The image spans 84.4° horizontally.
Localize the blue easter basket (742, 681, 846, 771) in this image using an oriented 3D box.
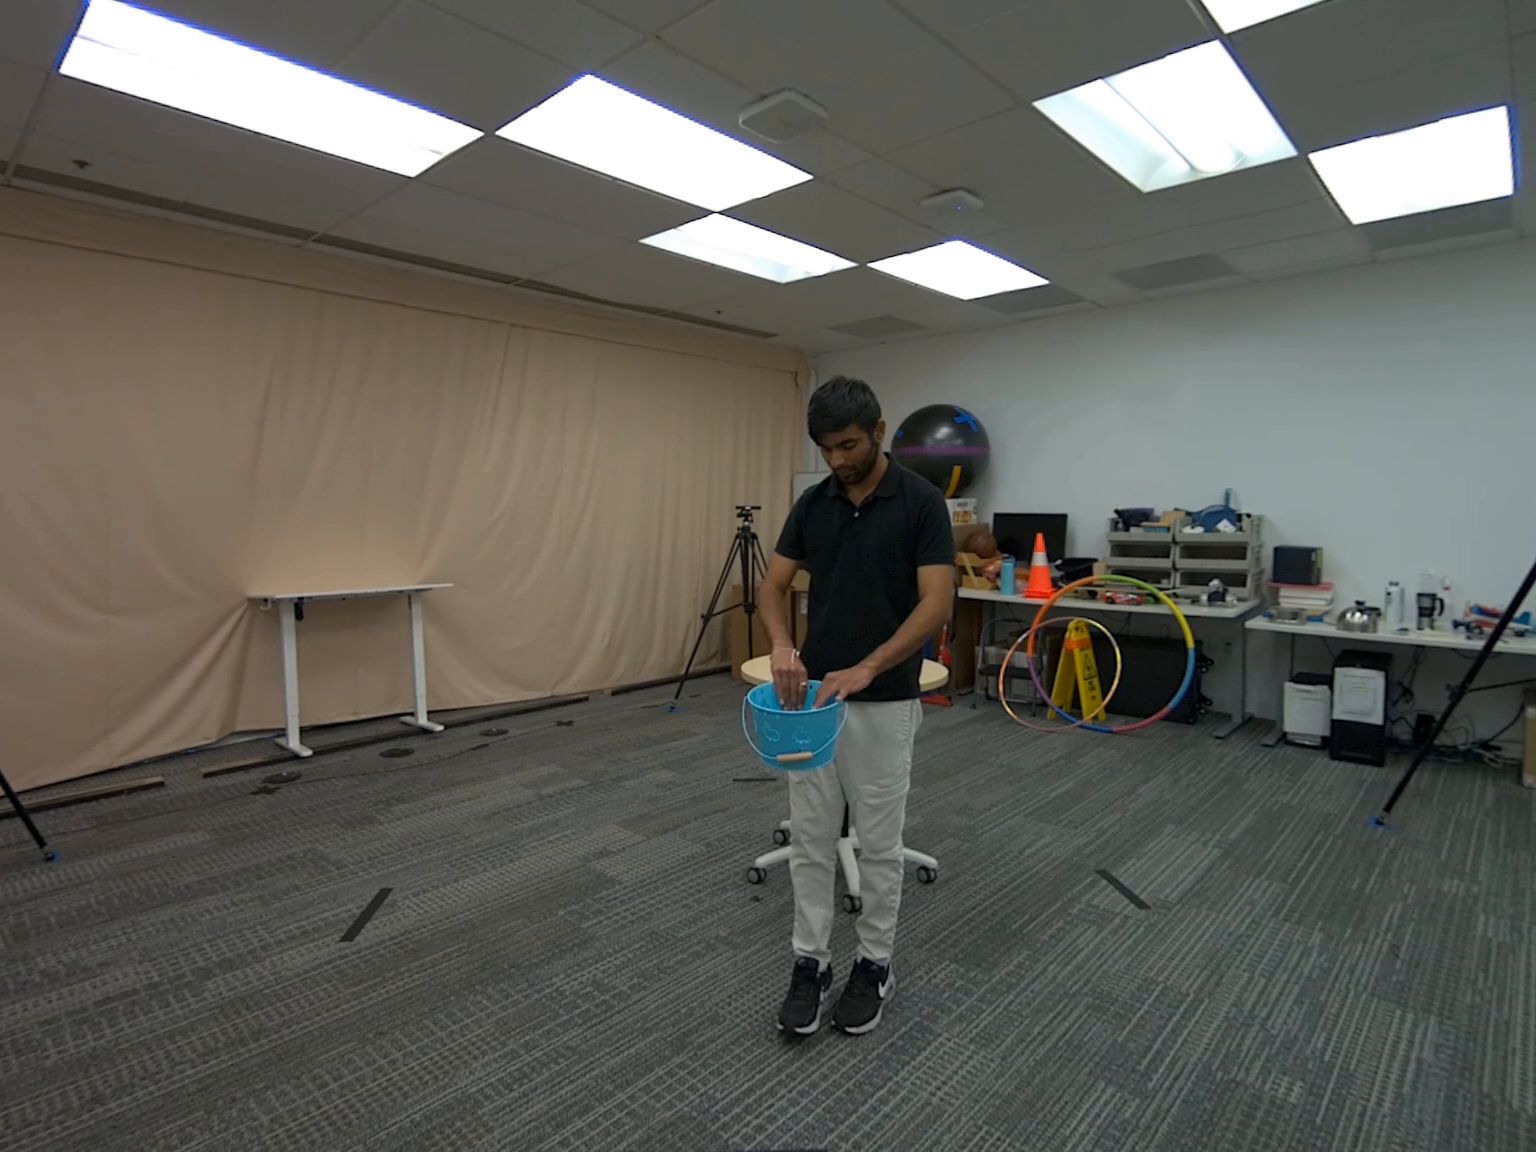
[{"bbox_3d":[0.060,0.369,2.005,0.243,0.155,0.245,-1,10,-2],"label":"blue easter basket"}]
